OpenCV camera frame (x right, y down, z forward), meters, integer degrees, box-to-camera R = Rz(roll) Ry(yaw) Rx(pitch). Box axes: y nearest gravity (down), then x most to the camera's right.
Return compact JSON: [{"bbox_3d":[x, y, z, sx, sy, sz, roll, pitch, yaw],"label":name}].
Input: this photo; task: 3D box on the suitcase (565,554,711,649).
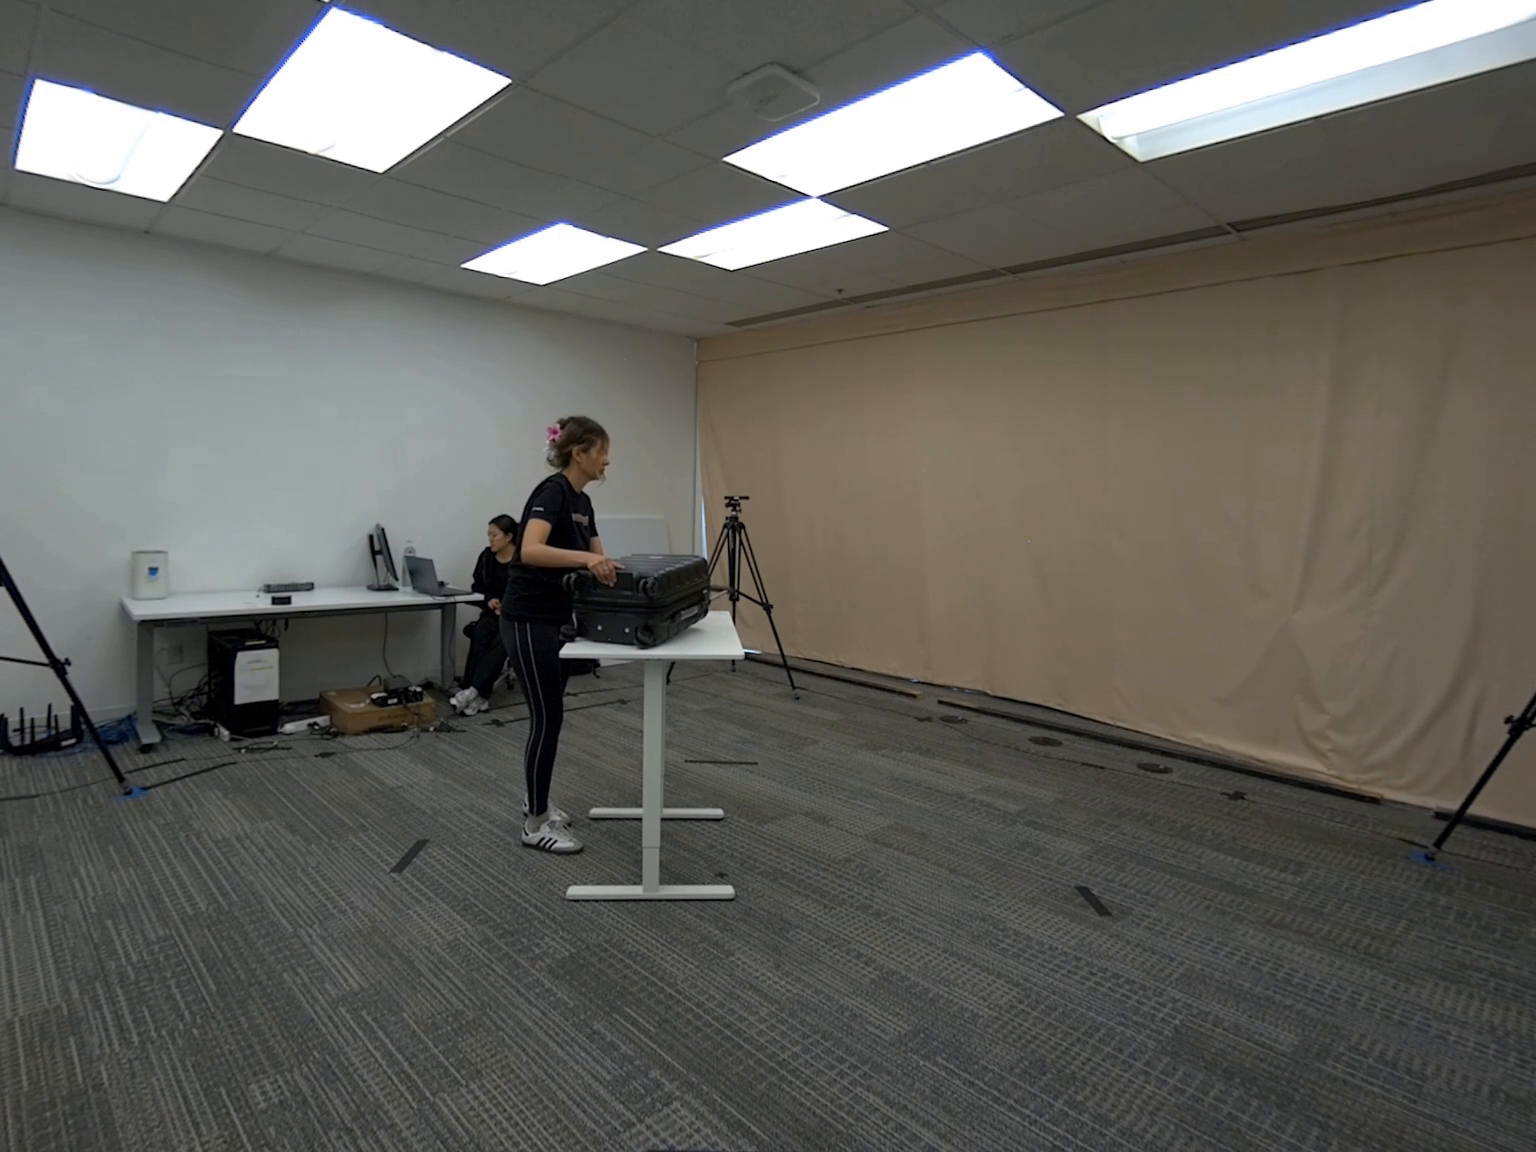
[{"bbox_3d":[-0.383,0.038,3.255,0.390,0.255,0.969,1,11,21],"label":"suitcase"}]
